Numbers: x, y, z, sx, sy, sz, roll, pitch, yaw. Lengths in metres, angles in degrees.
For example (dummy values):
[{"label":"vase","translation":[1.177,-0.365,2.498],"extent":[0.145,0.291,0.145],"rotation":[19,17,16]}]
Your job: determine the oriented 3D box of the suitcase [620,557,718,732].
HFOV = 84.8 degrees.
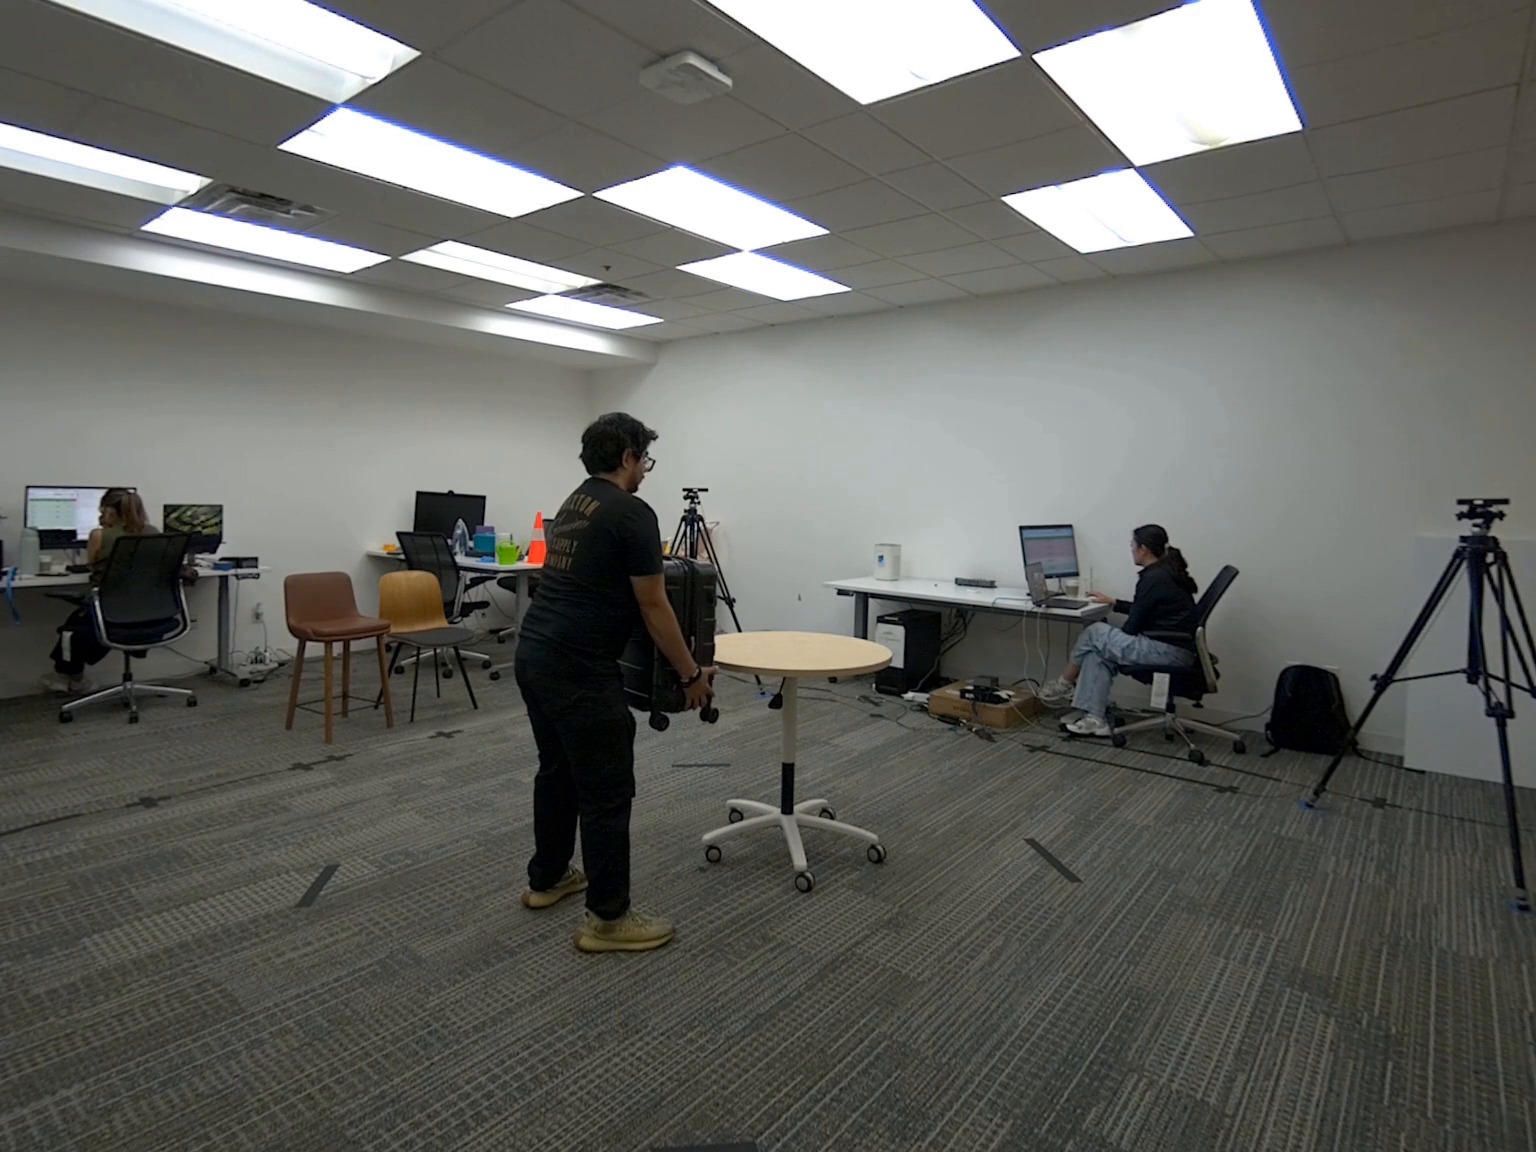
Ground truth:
[{"label":"suitcase","translation":[-0.364,0.203,2.850],"extent":[0.240,0.548,0.388],"rotation":[2,3,-38]}]
